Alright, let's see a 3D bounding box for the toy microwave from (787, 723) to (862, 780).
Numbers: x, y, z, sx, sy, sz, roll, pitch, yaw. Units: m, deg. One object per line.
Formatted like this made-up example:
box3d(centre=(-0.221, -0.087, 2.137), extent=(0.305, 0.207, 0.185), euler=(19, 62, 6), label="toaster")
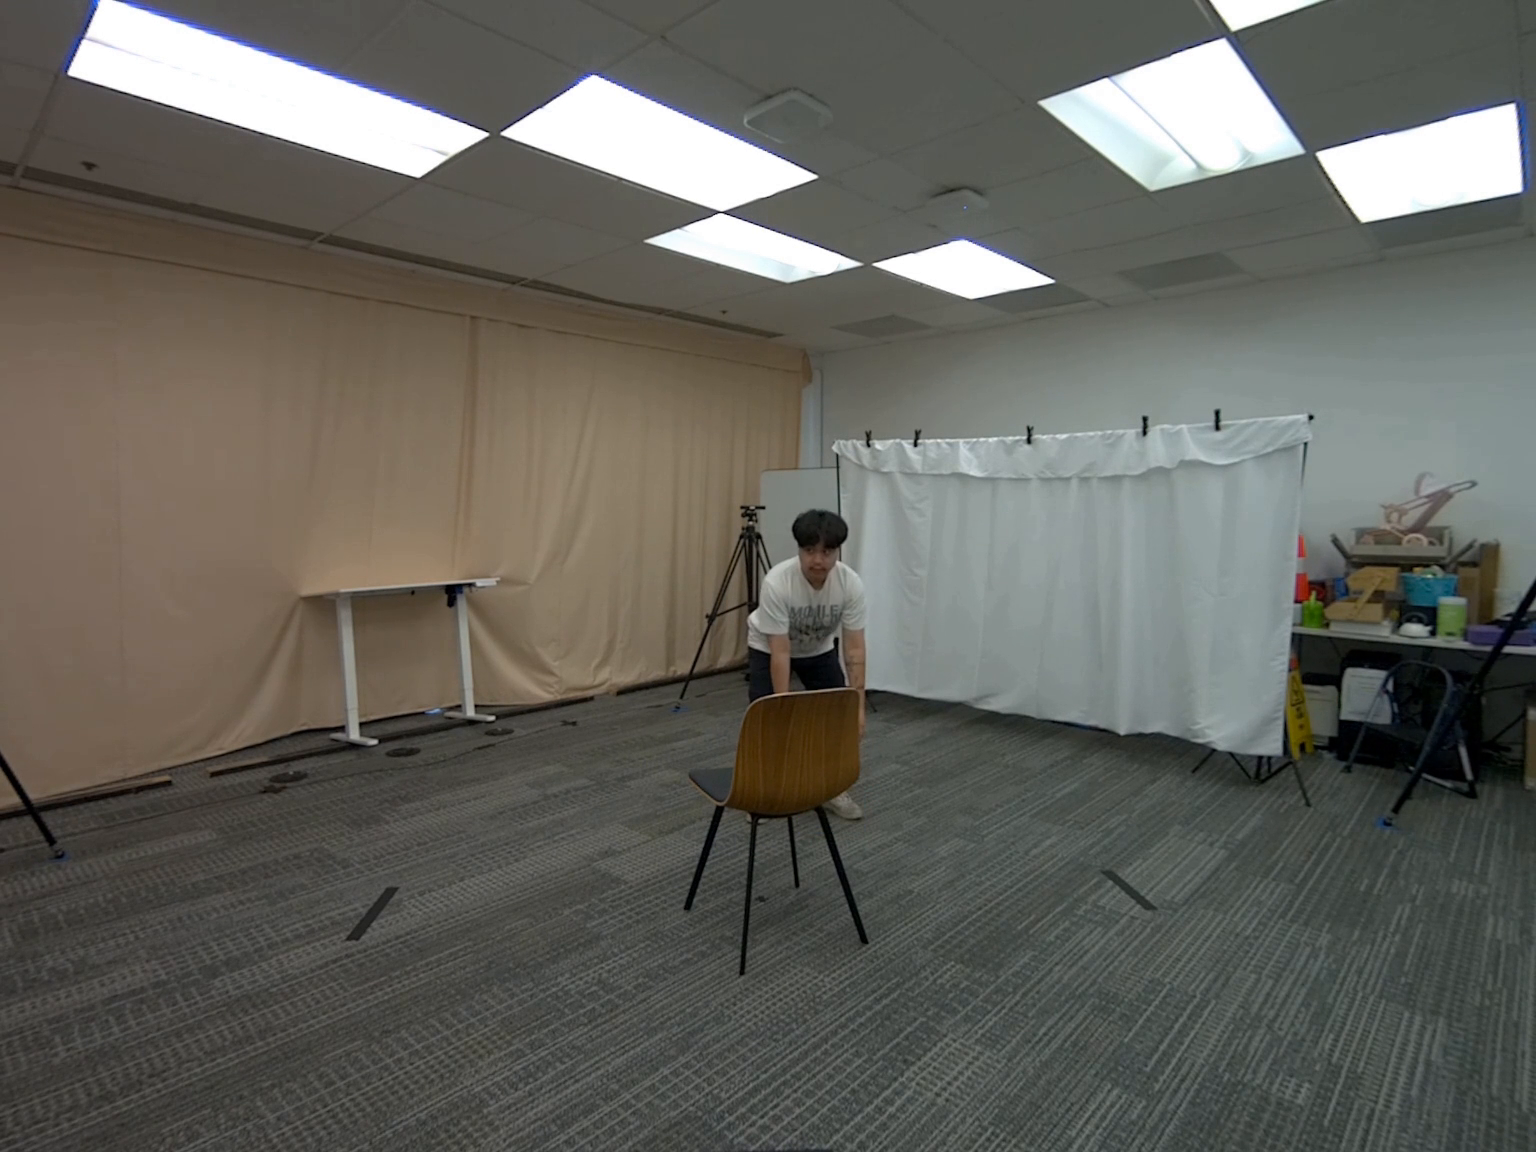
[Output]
box3d(centre=(0.234, 0.740, 3.598), extent=(0.285, 0.183, 0.153), euler=(-1, 6, -5), label="toy microwave")
